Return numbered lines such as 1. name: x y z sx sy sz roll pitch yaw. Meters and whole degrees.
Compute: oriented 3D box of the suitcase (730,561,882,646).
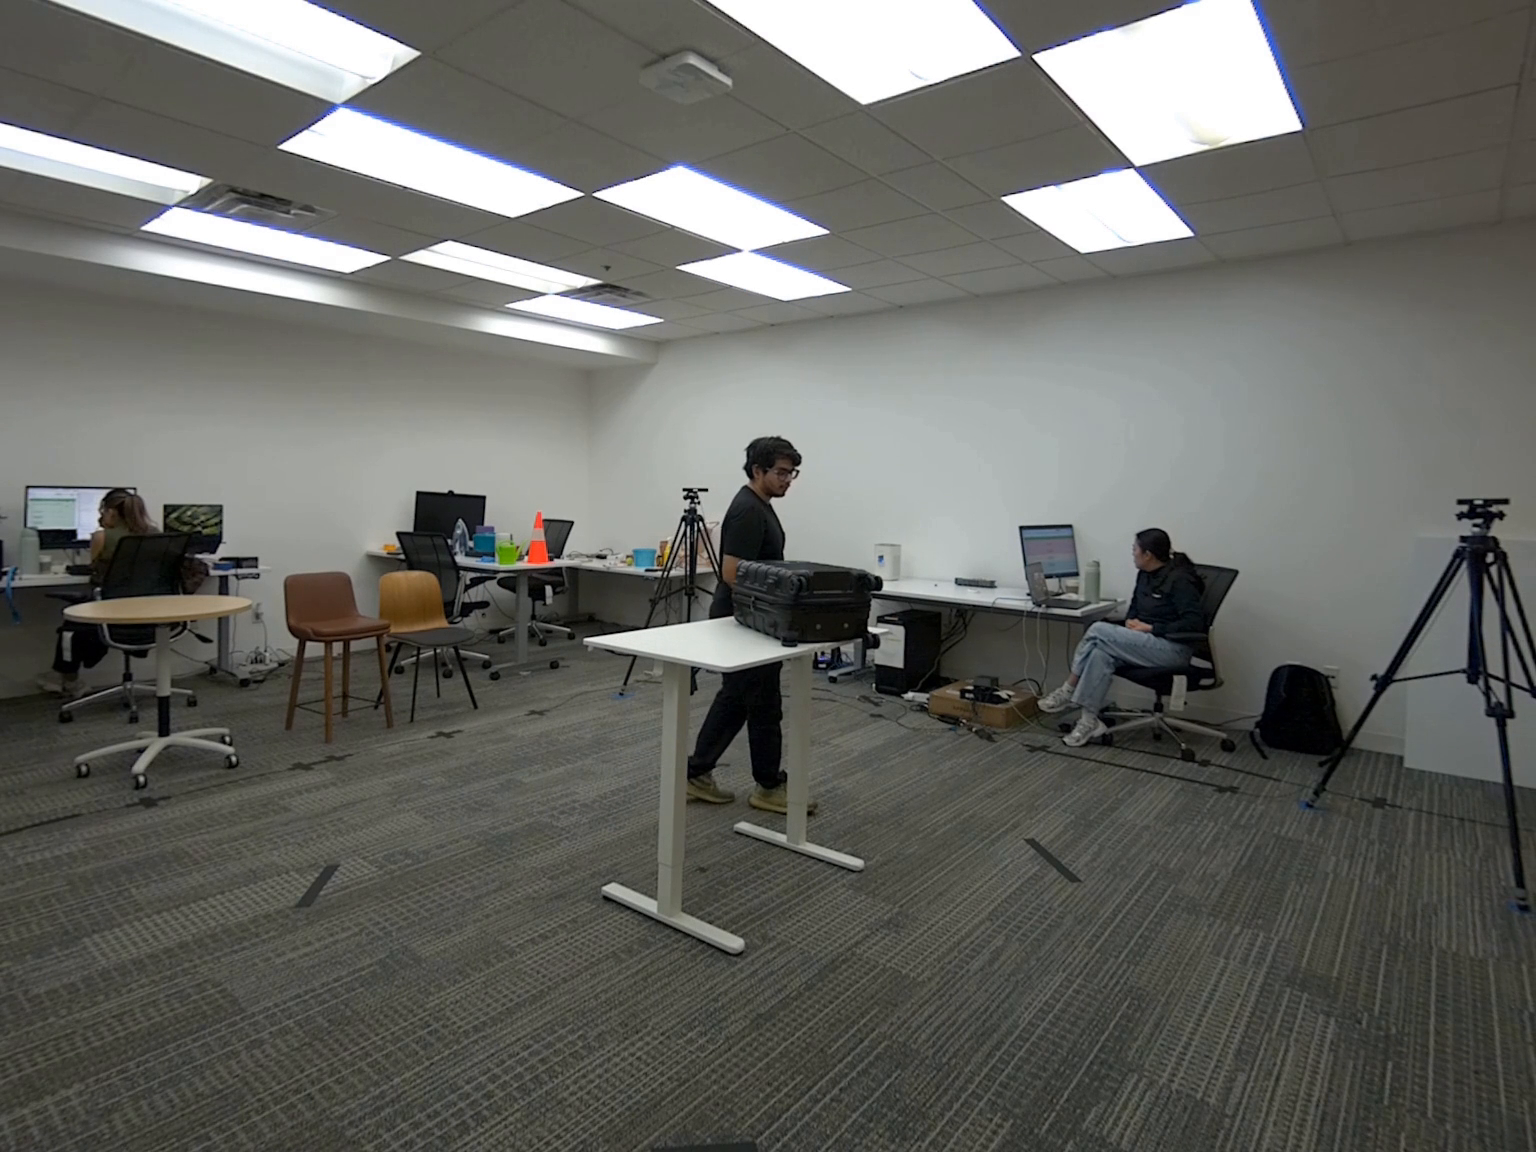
1. suitcase: 0.104 0.083 3.063 0.367 0.247 0.564 -1 5 -23
